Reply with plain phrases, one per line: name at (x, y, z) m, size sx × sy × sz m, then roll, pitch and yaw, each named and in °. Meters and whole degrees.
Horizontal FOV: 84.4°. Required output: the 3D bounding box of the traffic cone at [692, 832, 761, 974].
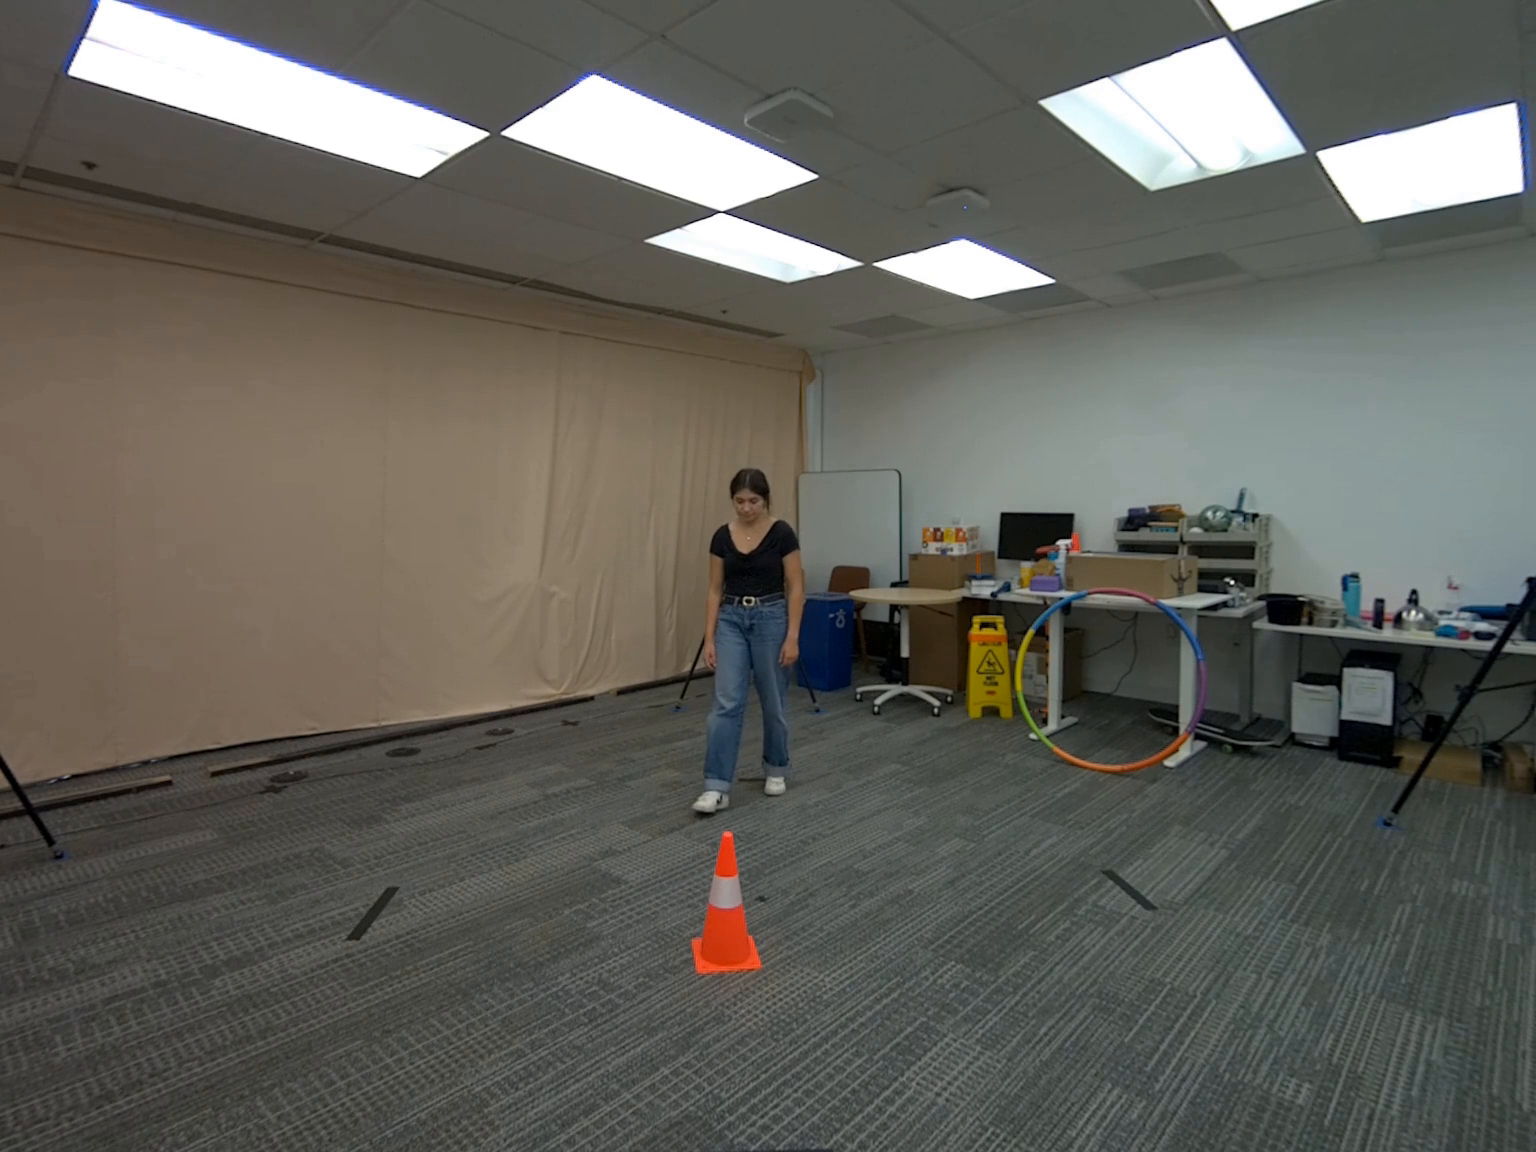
traffic cone at (-0.133, 0.984, 2.617) m, size 0.202 × 0.383 × 0.207 m, roll 0°, pitch 2°, yaw -8°
